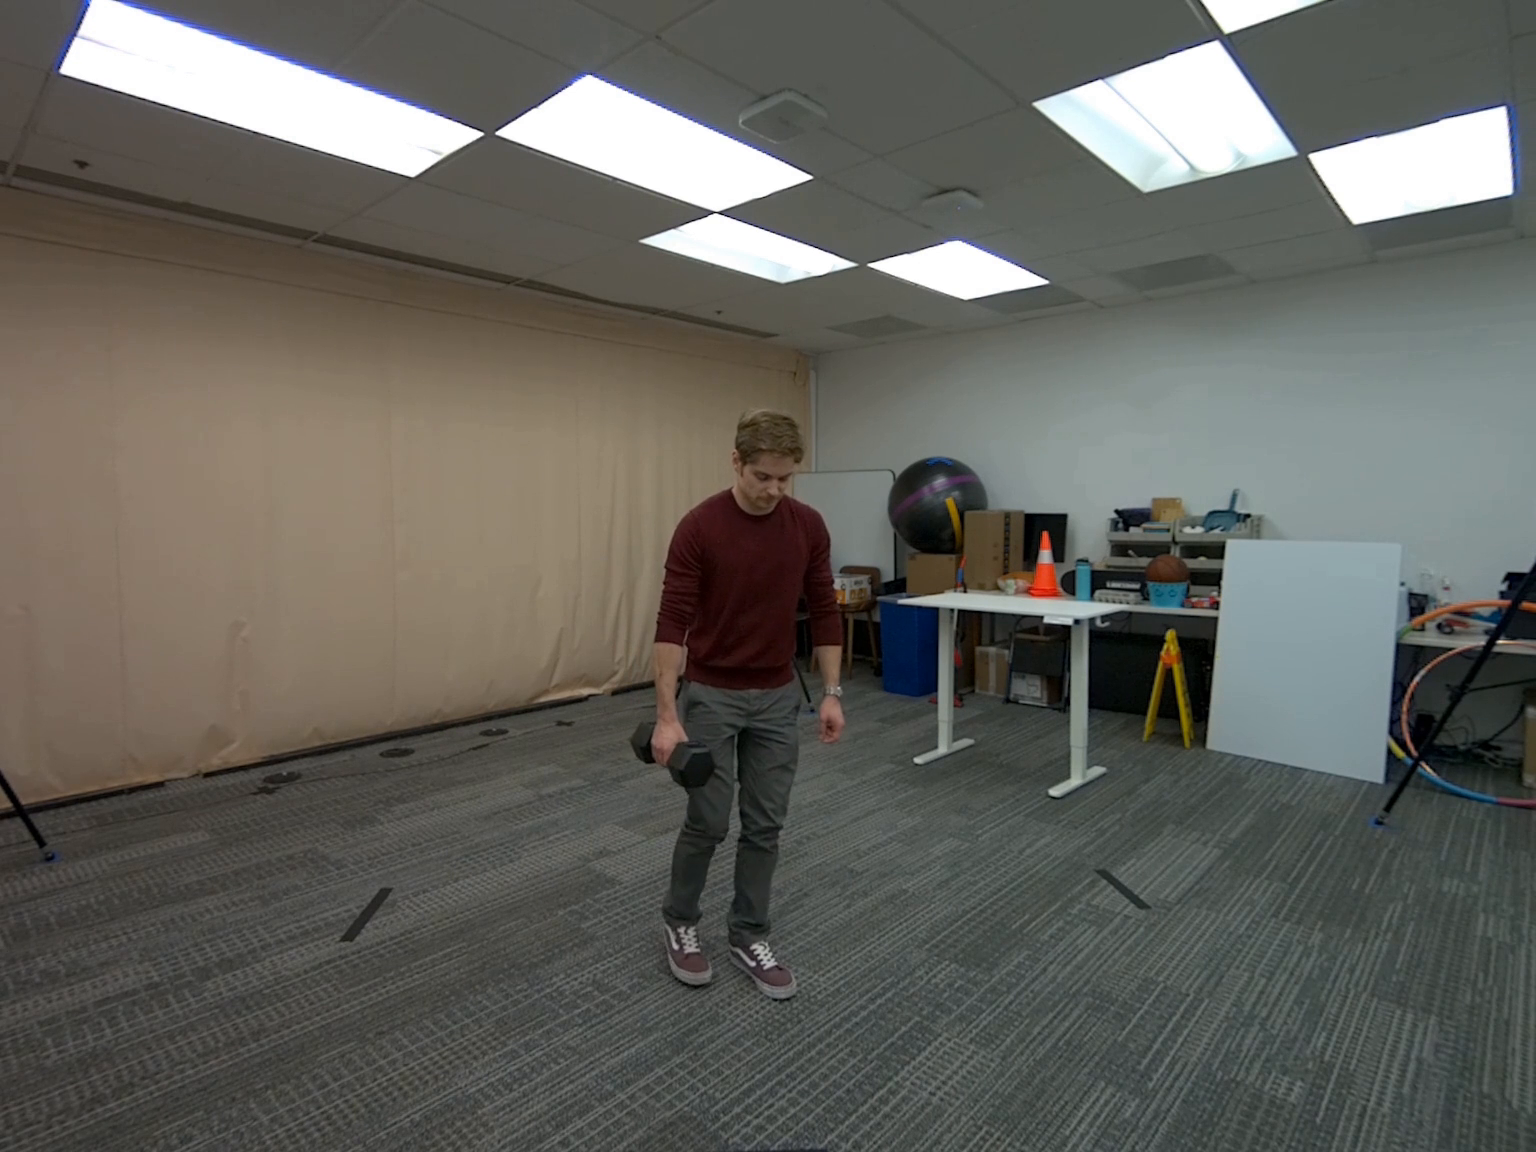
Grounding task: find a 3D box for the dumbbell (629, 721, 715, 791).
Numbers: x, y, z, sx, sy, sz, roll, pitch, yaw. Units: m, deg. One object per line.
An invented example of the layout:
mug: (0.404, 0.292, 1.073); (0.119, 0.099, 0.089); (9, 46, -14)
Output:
dumbbell: (-0.271, 0.498, 2.324); (0.105, 0.123, 0.303); (41, -16, -31)
